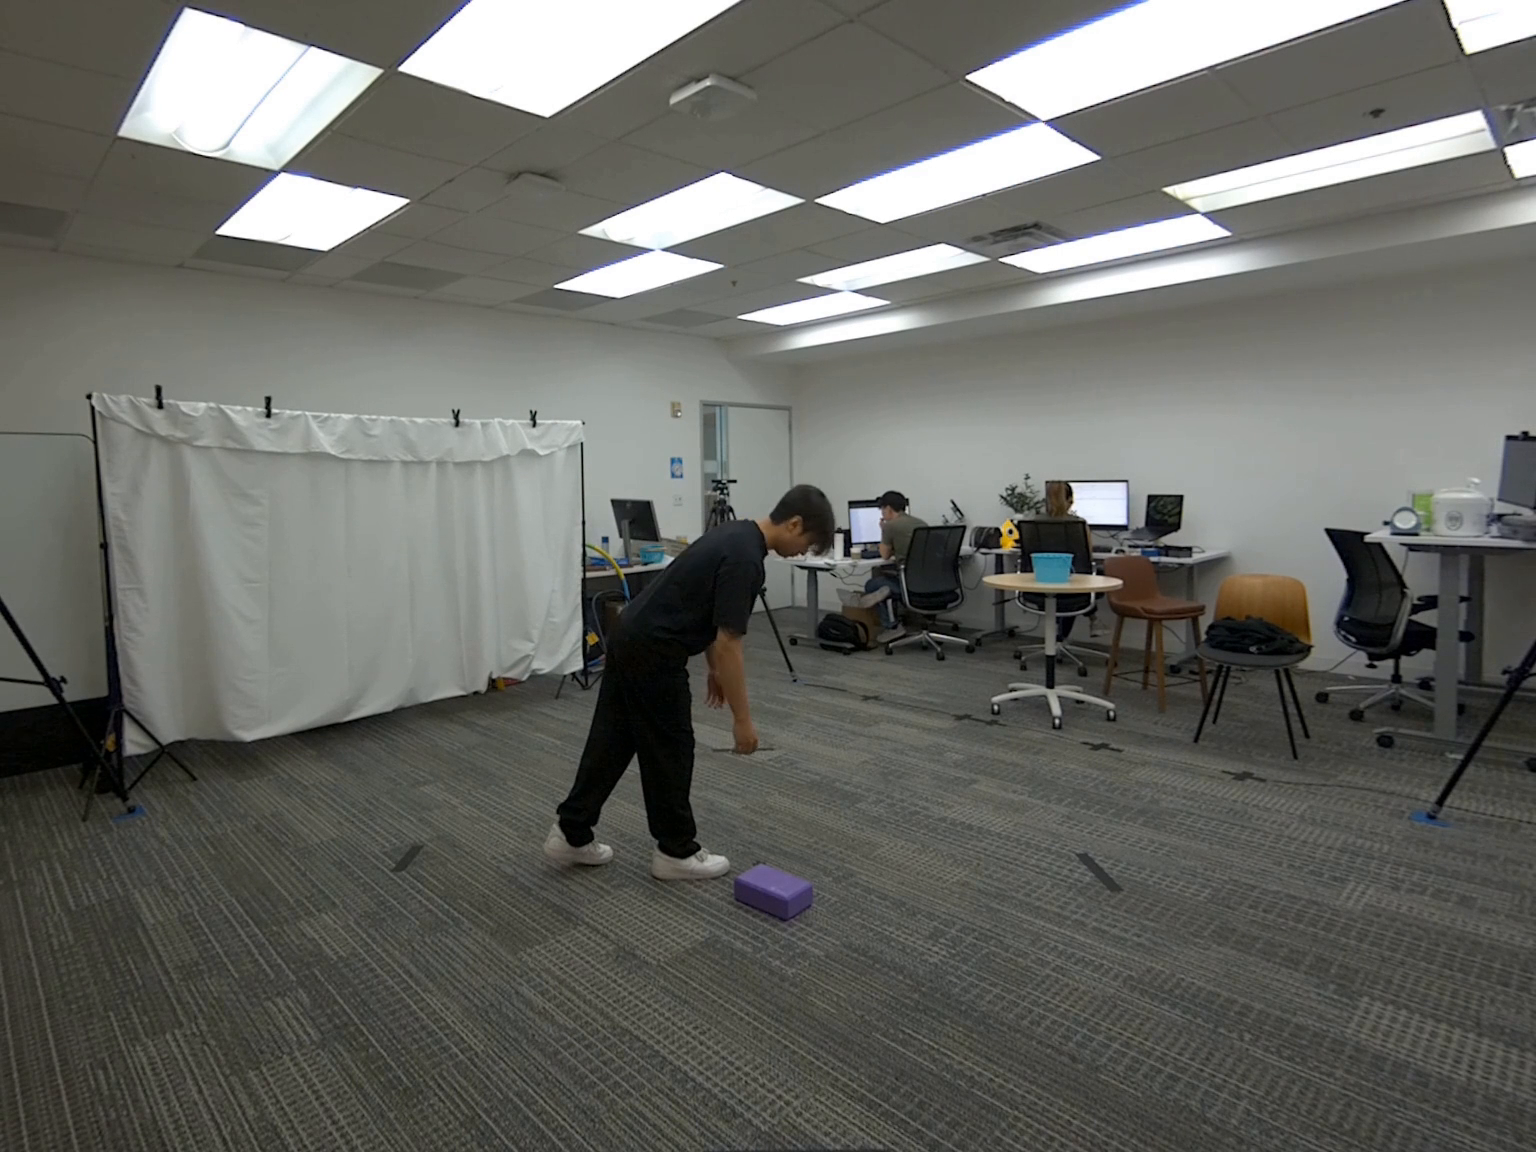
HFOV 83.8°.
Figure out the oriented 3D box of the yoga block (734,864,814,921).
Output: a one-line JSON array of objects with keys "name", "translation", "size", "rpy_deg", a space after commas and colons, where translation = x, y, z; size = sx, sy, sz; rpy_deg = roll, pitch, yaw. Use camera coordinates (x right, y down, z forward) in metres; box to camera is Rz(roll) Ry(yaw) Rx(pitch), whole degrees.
[{"name": "yoga block", "translation": [0.020, 1.039, 2.820], "size": [0.236, 0.076, 0.145], "rpy_deg": [5, 8, 40]}]
